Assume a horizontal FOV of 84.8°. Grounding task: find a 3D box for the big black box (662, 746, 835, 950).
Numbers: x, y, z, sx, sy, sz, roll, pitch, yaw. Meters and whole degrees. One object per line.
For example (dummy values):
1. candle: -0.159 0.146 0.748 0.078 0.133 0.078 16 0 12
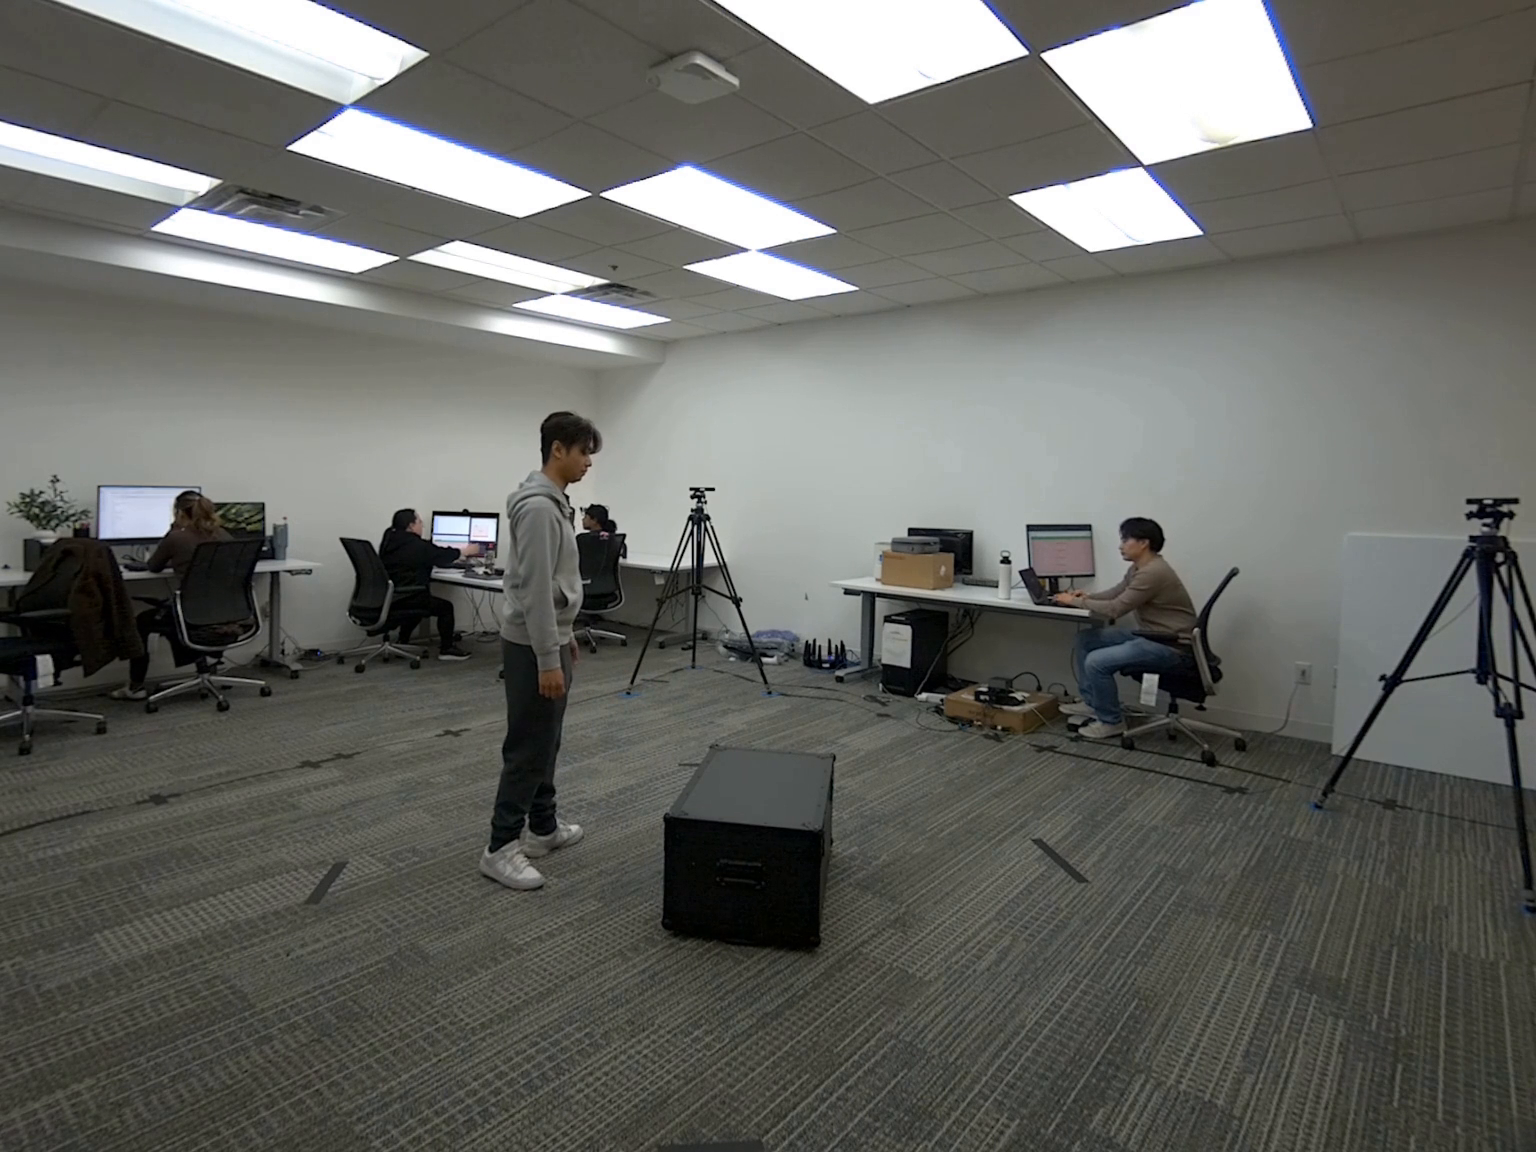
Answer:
1. big black box: -0.037 0.889 2.974 0.527 0.395 0.856 2 5 8
